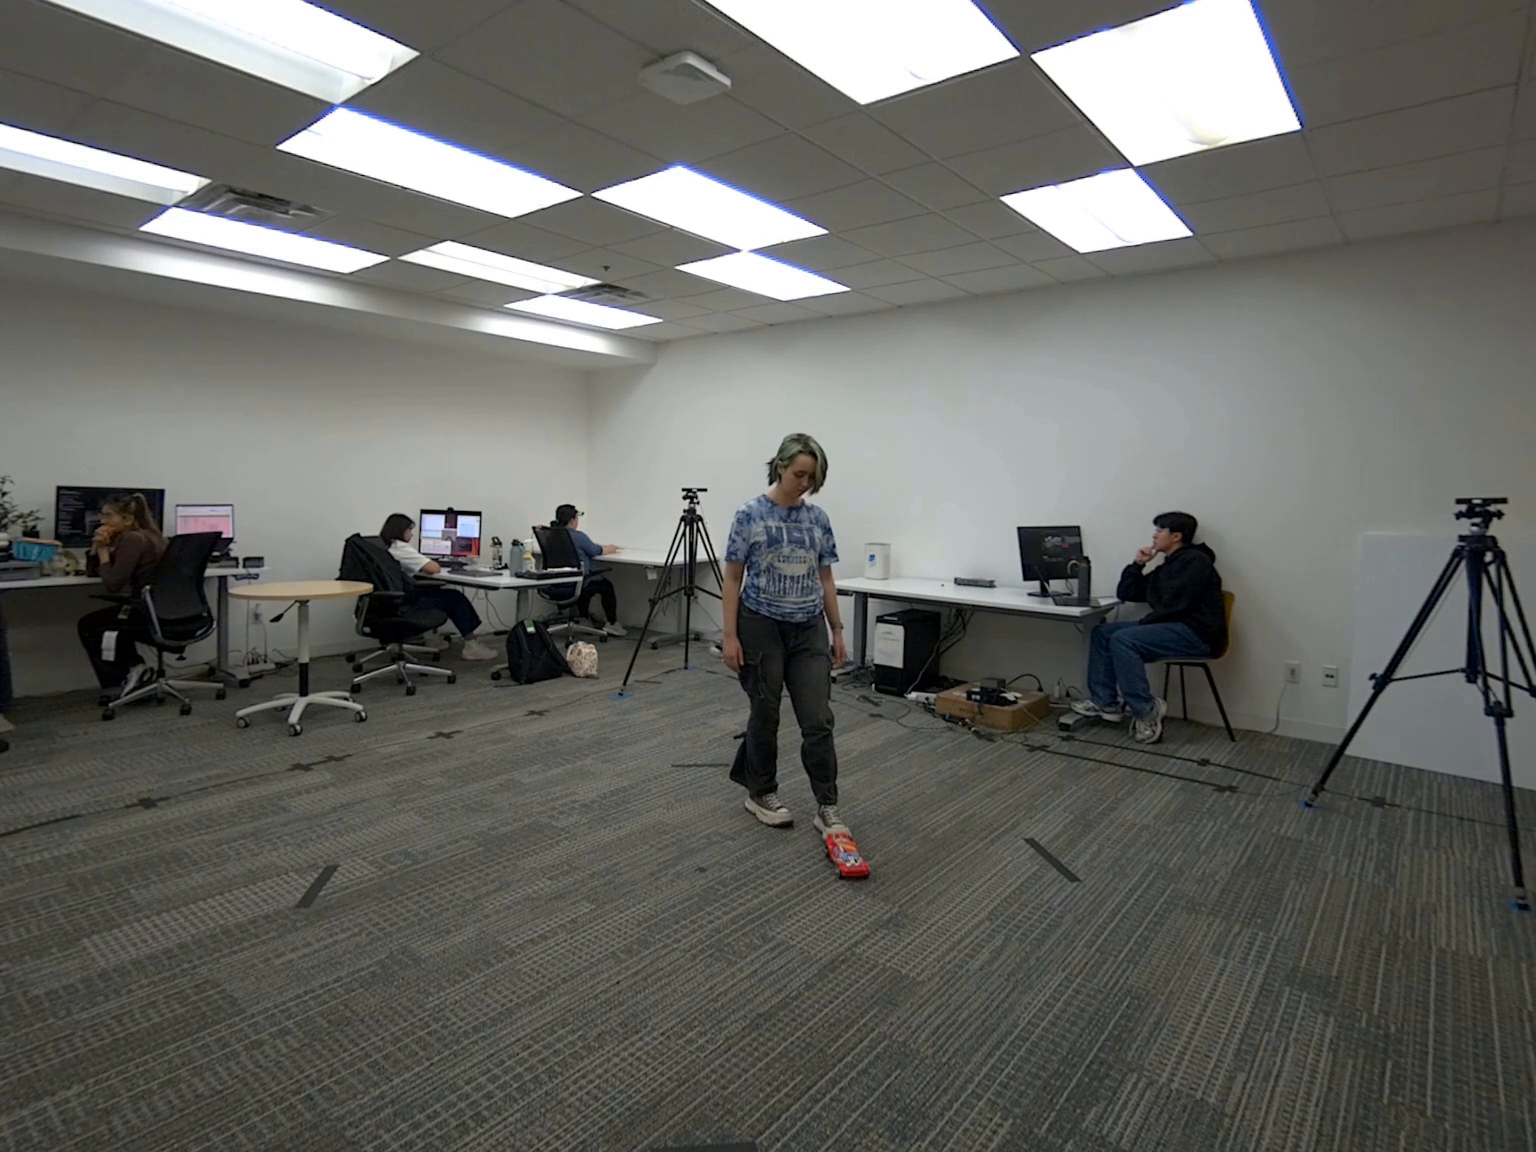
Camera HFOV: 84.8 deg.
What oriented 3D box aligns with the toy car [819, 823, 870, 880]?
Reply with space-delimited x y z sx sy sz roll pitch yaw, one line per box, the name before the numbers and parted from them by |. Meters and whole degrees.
toy car | 0.289 1.040 3.163 0.129 0.082 0.261 -2 21 -10
